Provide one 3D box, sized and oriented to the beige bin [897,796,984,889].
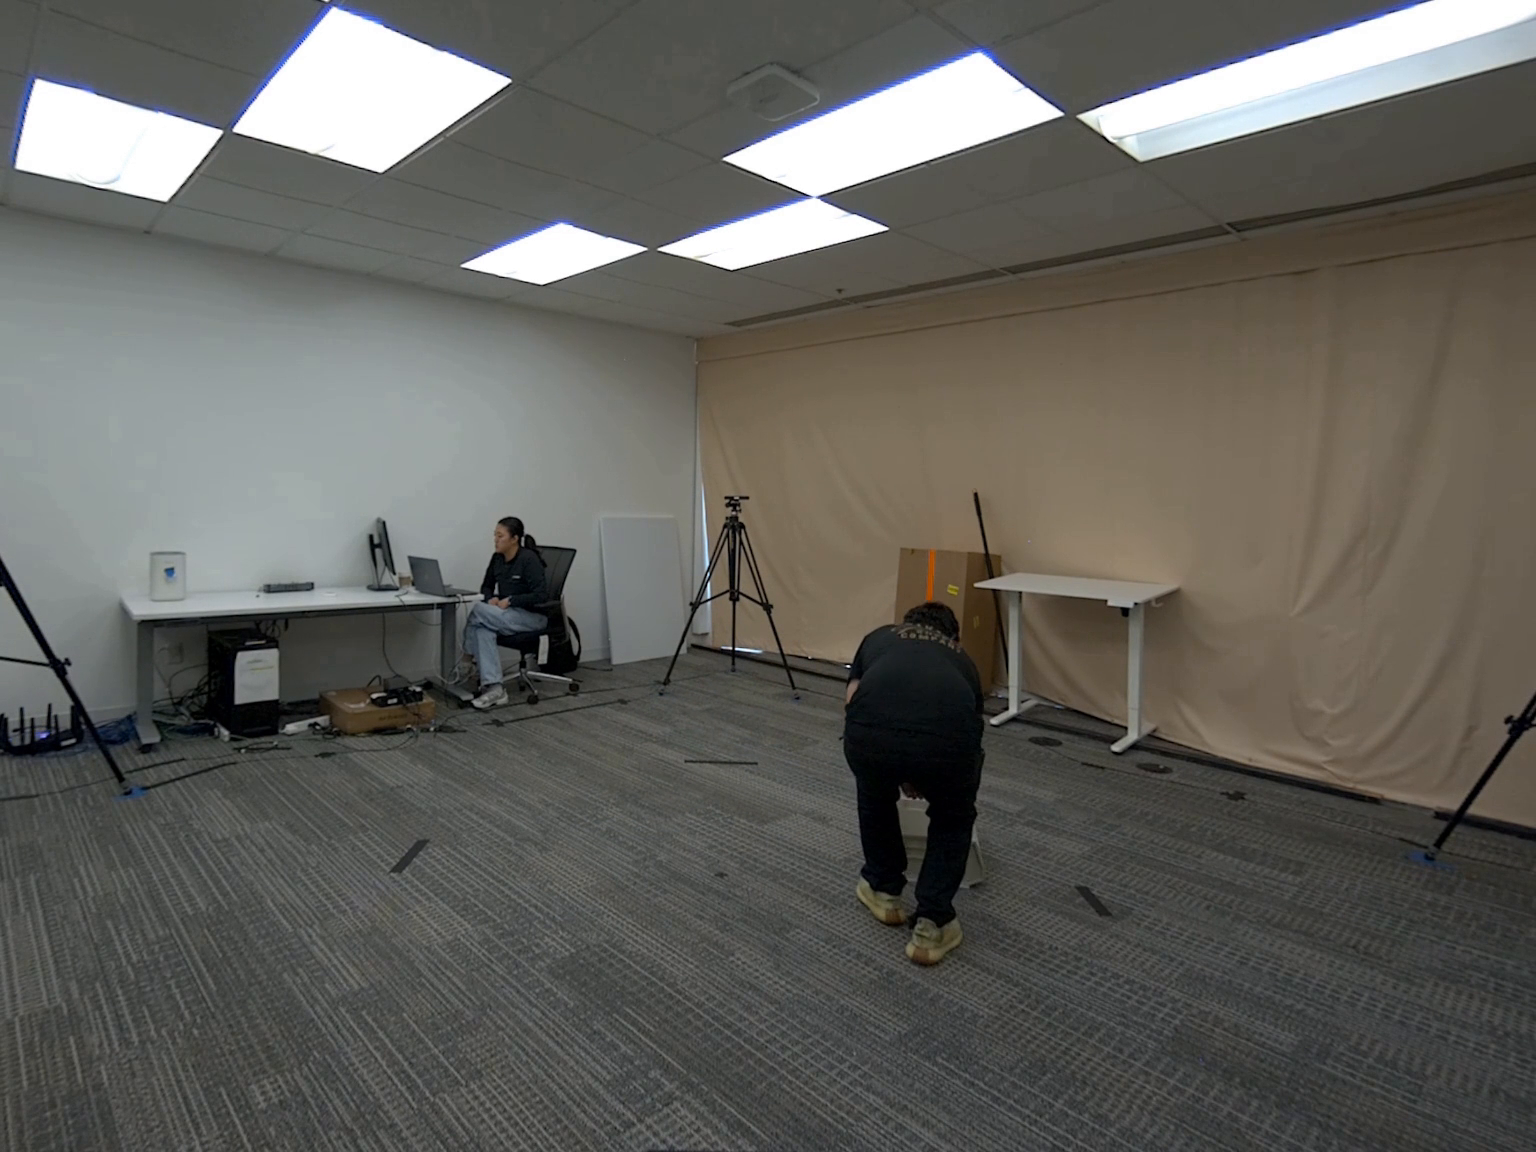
[{"bbox_3d":[0.622,1.016,3.265,0.381,0.188,0.420,0,5,11],"label":"beige bin"}]
